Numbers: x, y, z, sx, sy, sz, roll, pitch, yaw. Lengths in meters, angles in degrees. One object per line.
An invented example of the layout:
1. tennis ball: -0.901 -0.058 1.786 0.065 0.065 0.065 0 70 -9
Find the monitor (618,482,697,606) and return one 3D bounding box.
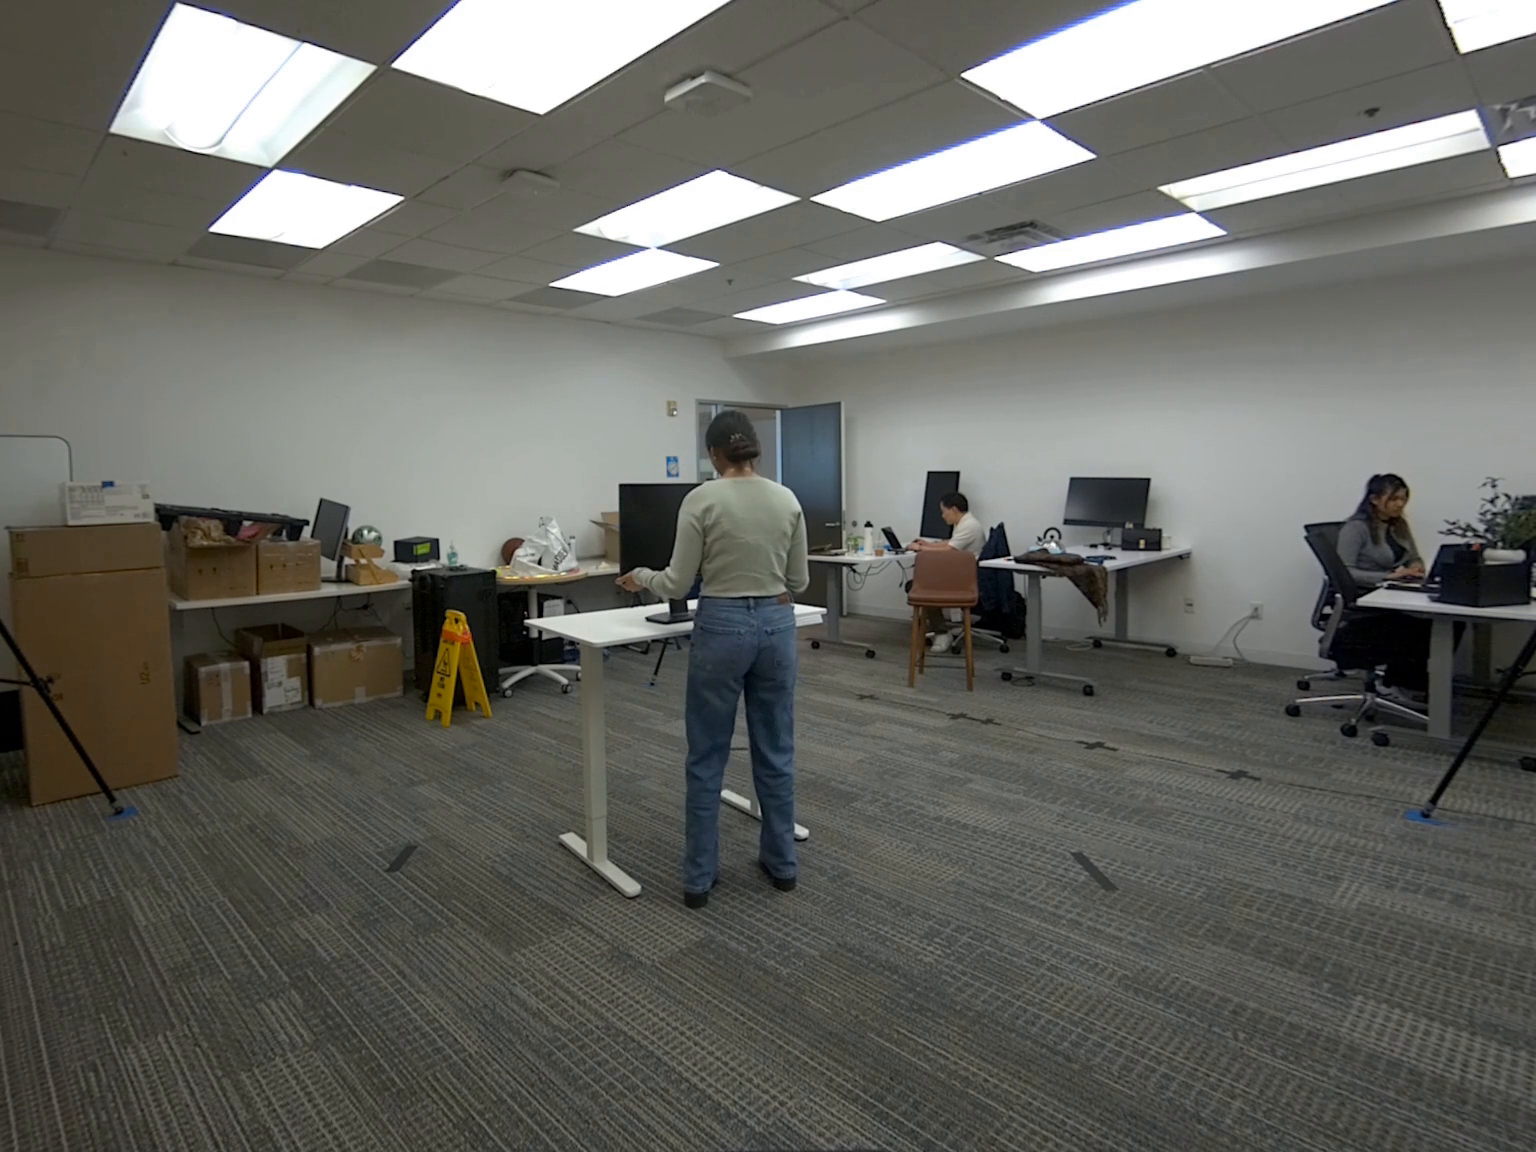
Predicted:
1. monitor: -0.326 -0.085 3.181 0.525 0.519 0.193 -4 10 -41
